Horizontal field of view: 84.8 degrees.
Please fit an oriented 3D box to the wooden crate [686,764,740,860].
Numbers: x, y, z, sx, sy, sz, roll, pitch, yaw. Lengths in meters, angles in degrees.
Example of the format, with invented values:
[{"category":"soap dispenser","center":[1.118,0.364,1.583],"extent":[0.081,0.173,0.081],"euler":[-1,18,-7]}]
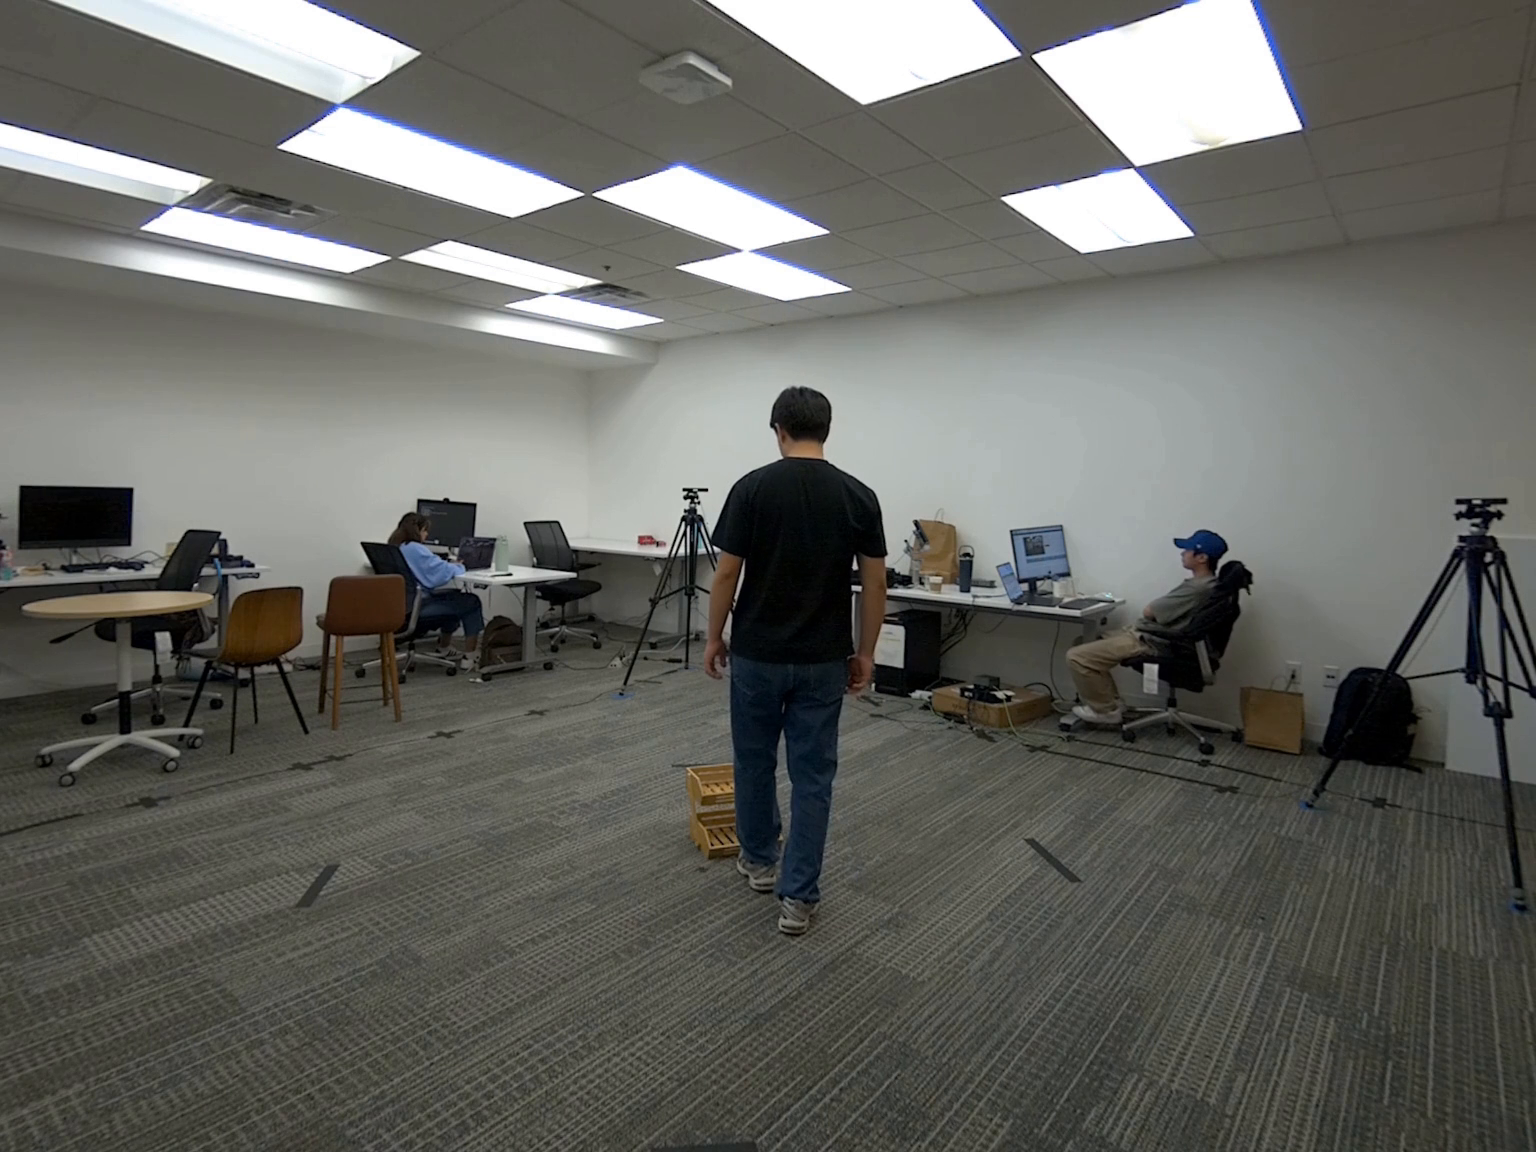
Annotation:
[{"category":"wooden crate","center":[-0.146,0.911,3.361],"extent":[0.318,0.272,0.309],"euler":[-1,4,-22]}]
